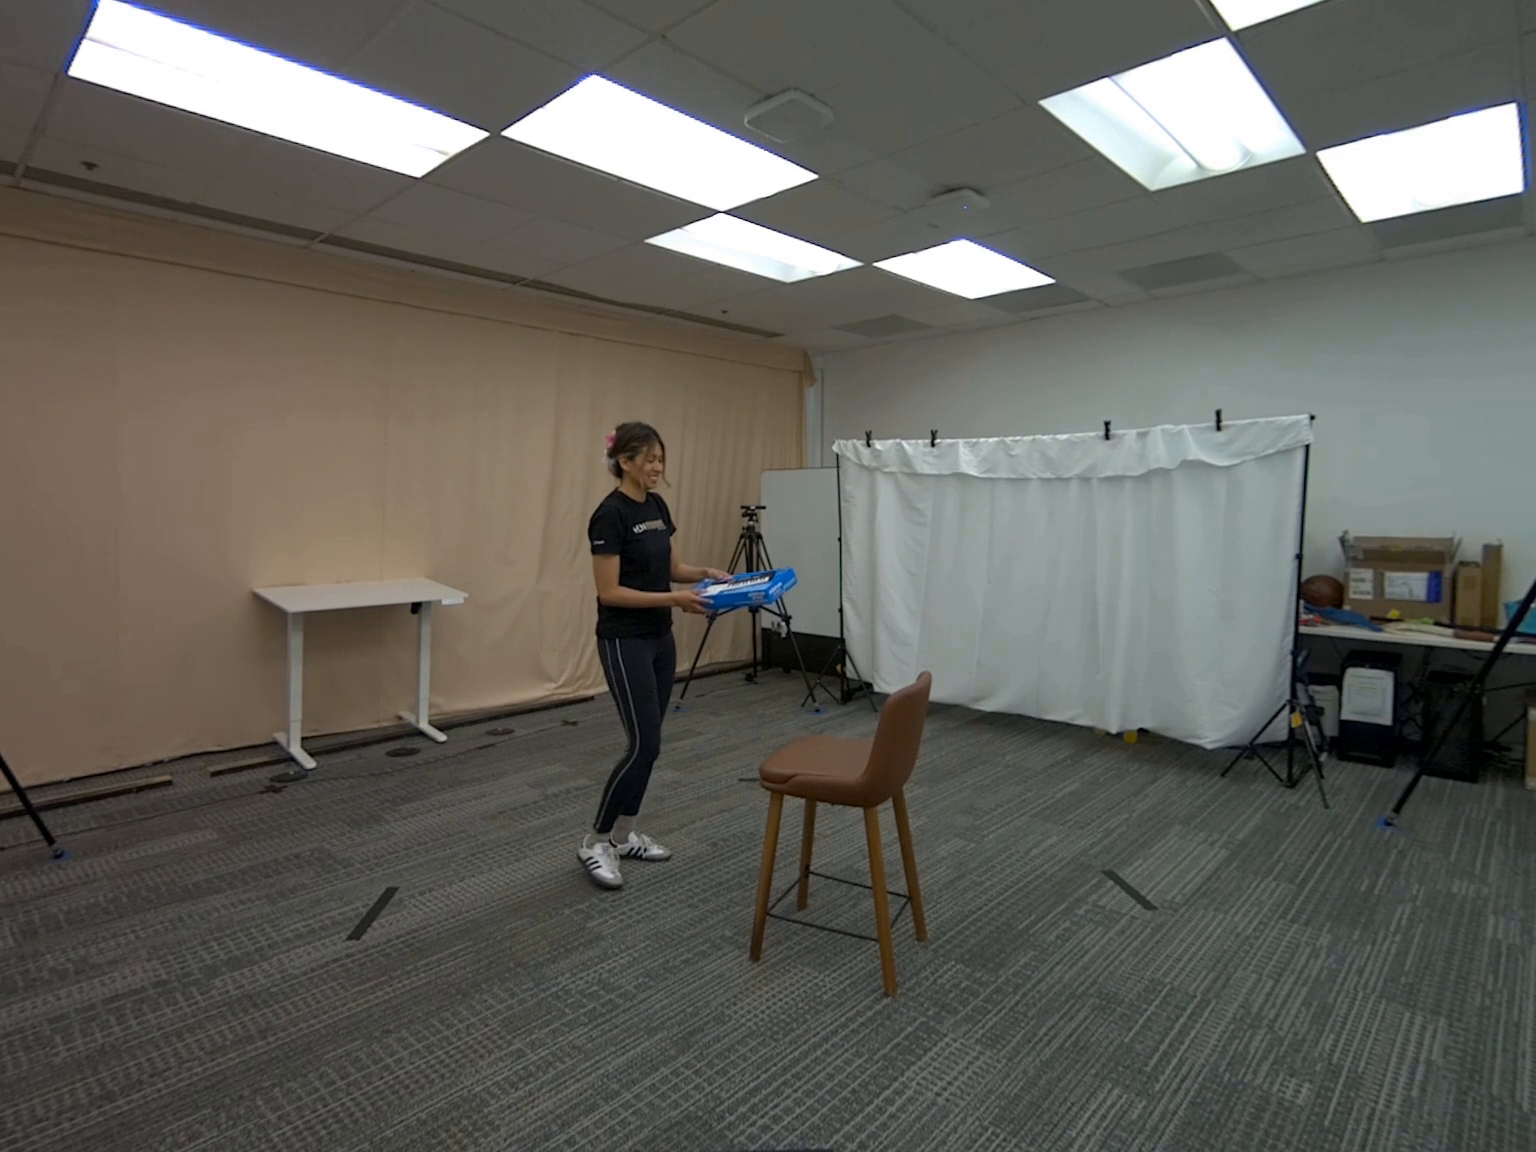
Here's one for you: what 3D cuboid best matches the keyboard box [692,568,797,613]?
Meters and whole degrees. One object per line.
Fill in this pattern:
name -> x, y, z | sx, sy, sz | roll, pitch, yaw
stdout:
keyboard box -> -0.119, 0.058, 3.047 | 0.449, 0.058, 0.173 | -7, 21, 43
